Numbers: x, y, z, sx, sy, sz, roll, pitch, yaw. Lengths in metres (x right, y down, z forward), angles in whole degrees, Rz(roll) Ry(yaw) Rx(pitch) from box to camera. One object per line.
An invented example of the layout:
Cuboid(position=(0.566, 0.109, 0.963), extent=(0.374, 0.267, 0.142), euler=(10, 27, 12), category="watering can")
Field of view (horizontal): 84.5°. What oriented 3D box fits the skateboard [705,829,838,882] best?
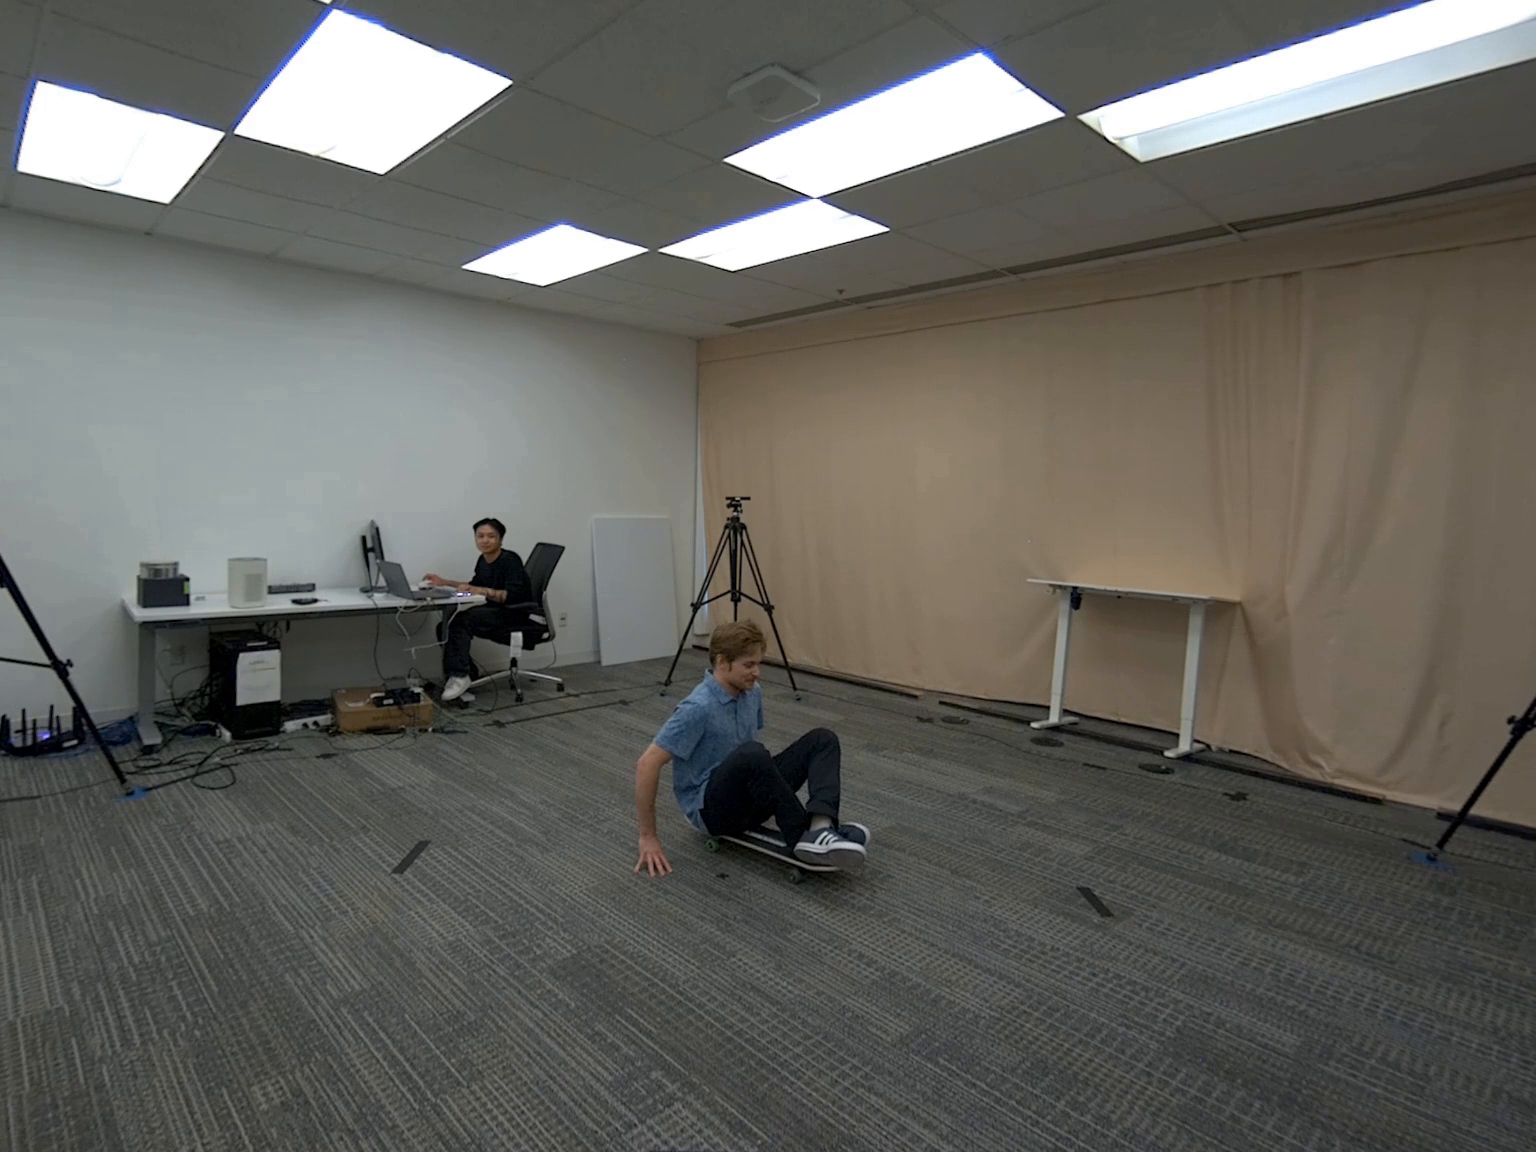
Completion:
Cuboid(position=(0.005, 1.043, 3.243), extent=(0.803, 0.110, 0.189), euler=(2, 1, 34), category="skateboard")
